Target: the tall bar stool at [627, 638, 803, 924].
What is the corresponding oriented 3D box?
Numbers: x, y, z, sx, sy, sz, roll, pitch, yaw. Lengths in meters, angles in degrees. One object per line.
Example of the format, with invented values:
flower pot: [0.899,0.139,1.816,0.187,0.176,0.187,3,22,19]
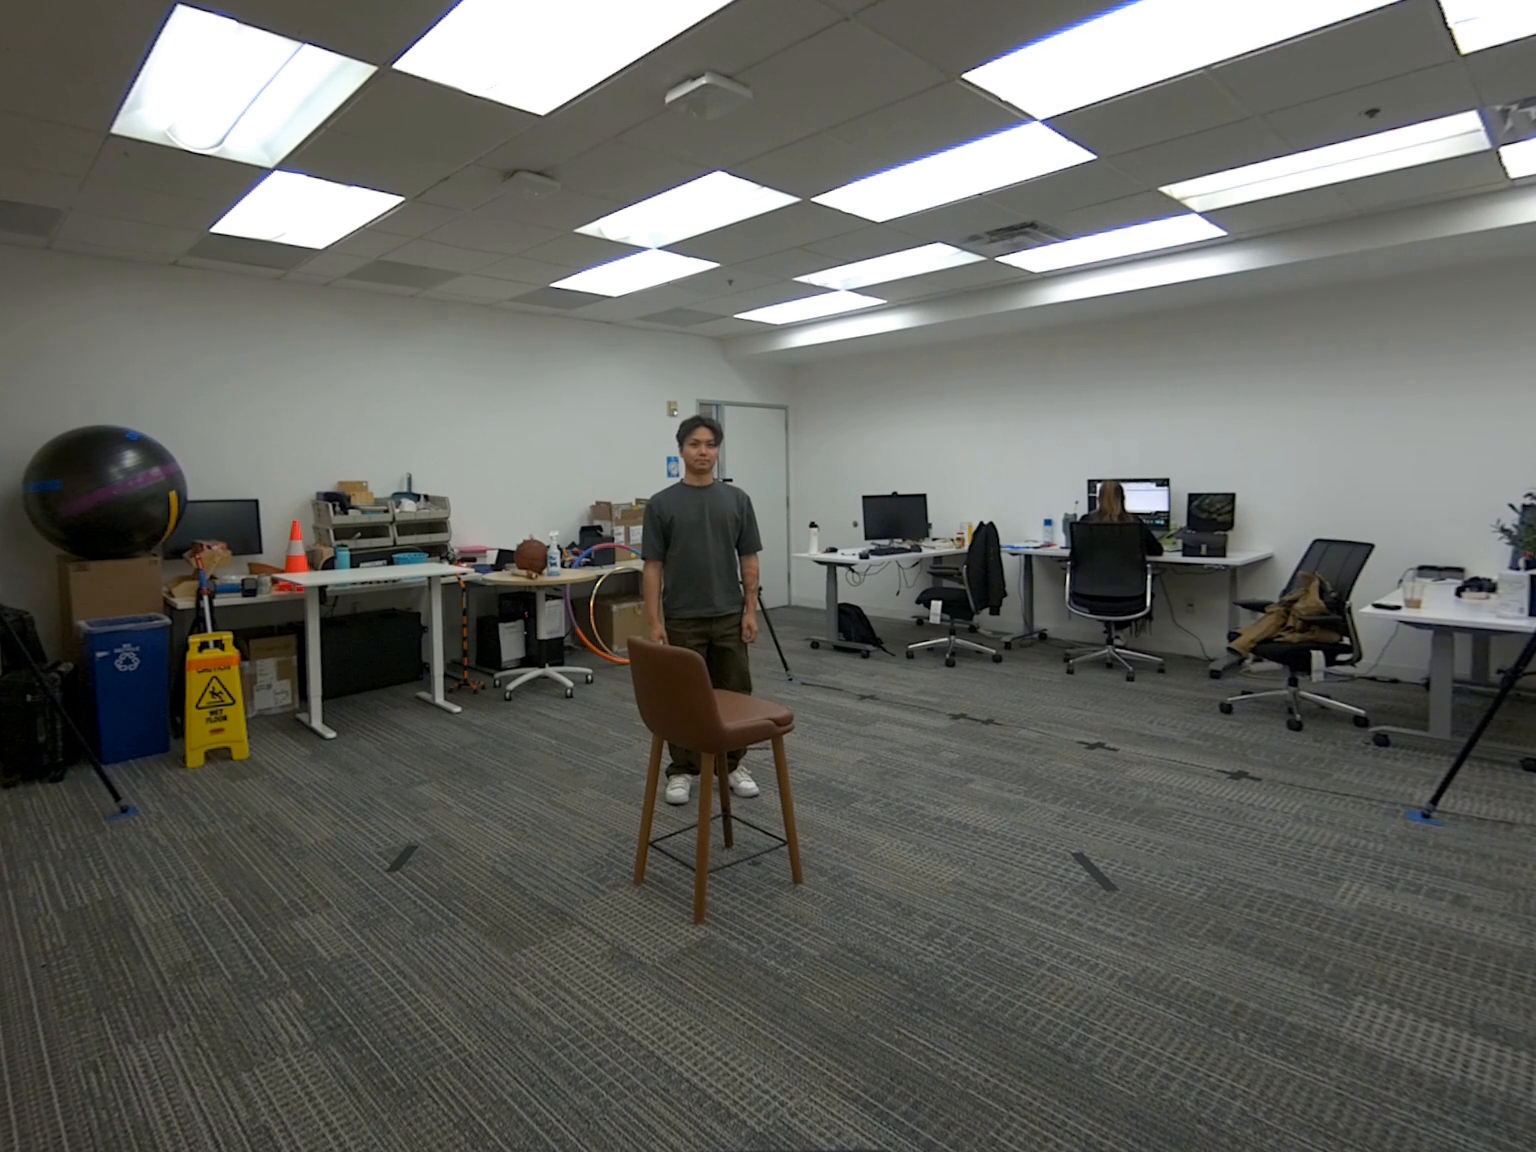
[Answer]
tall bar stool: [-0.190,0.634,2.937,0.456,0.885,0.470,-7,7,-40]
